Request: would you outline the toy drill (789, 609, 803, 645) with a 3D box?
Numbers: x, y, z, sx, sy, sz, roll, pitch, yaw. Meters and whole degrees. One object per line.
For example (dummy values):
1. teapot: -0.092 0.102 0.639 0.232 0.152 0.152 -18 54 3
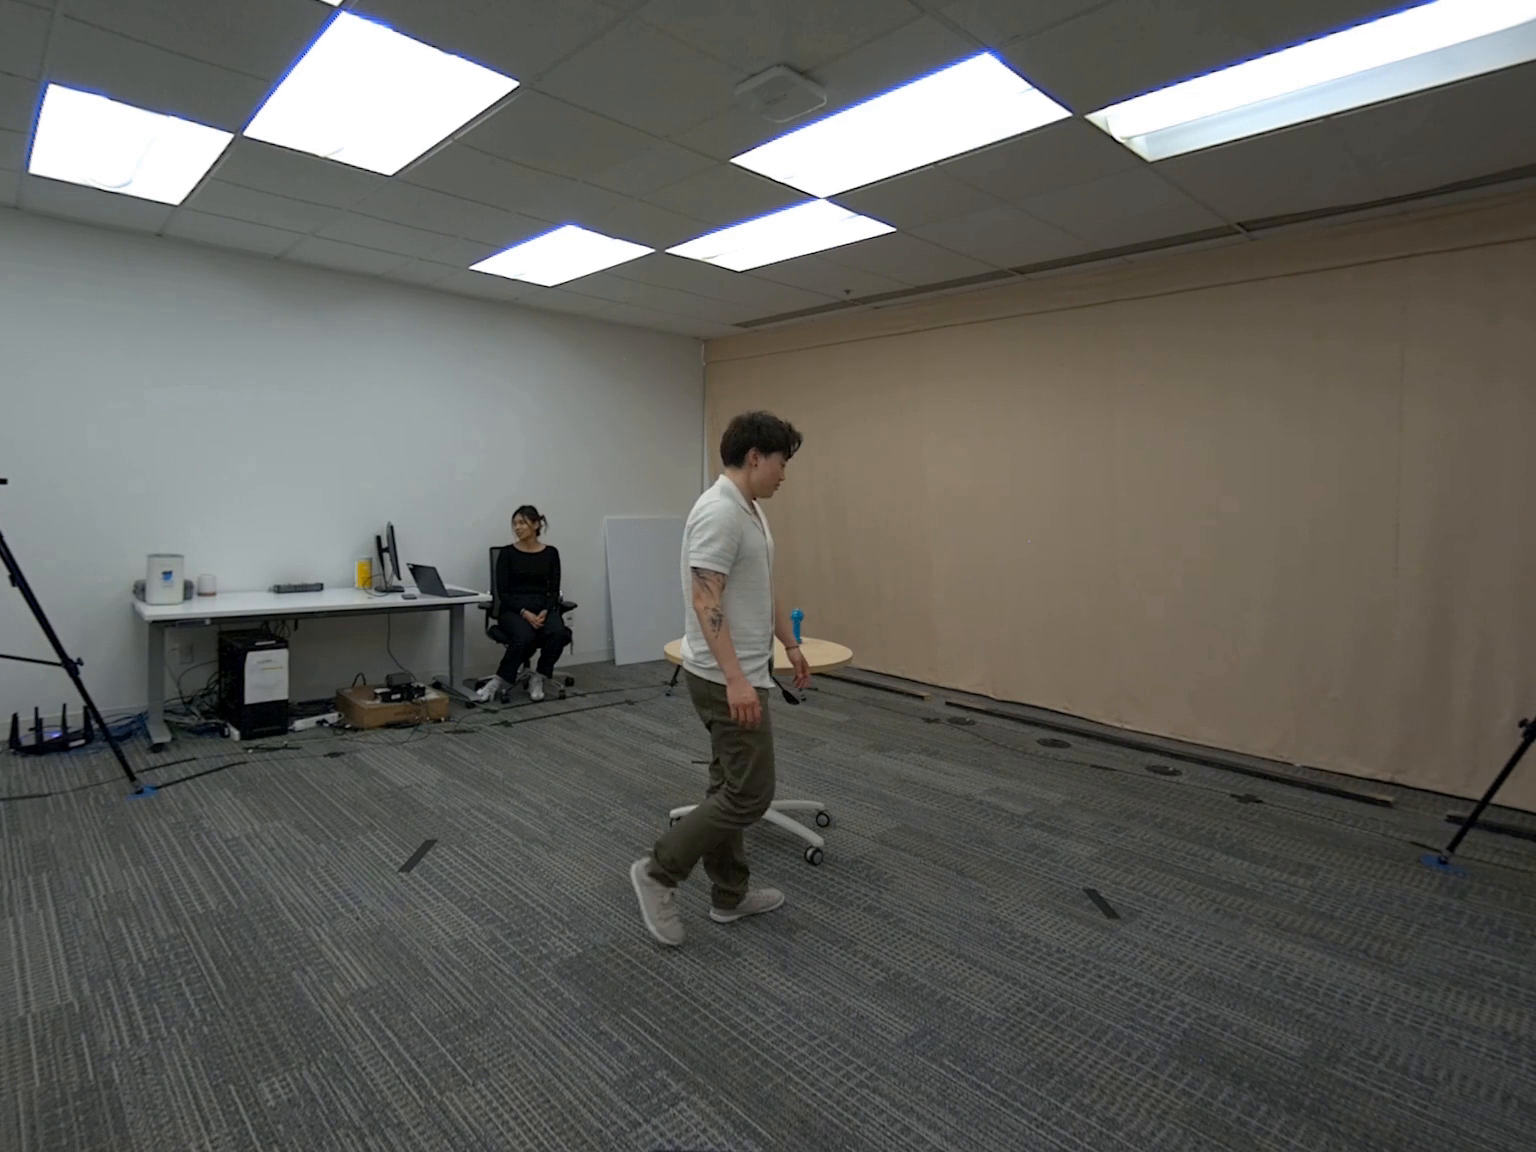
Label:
1. toy drill: 0.112 0.209 3.623 0.061 0.146 0.169 1 3 3
